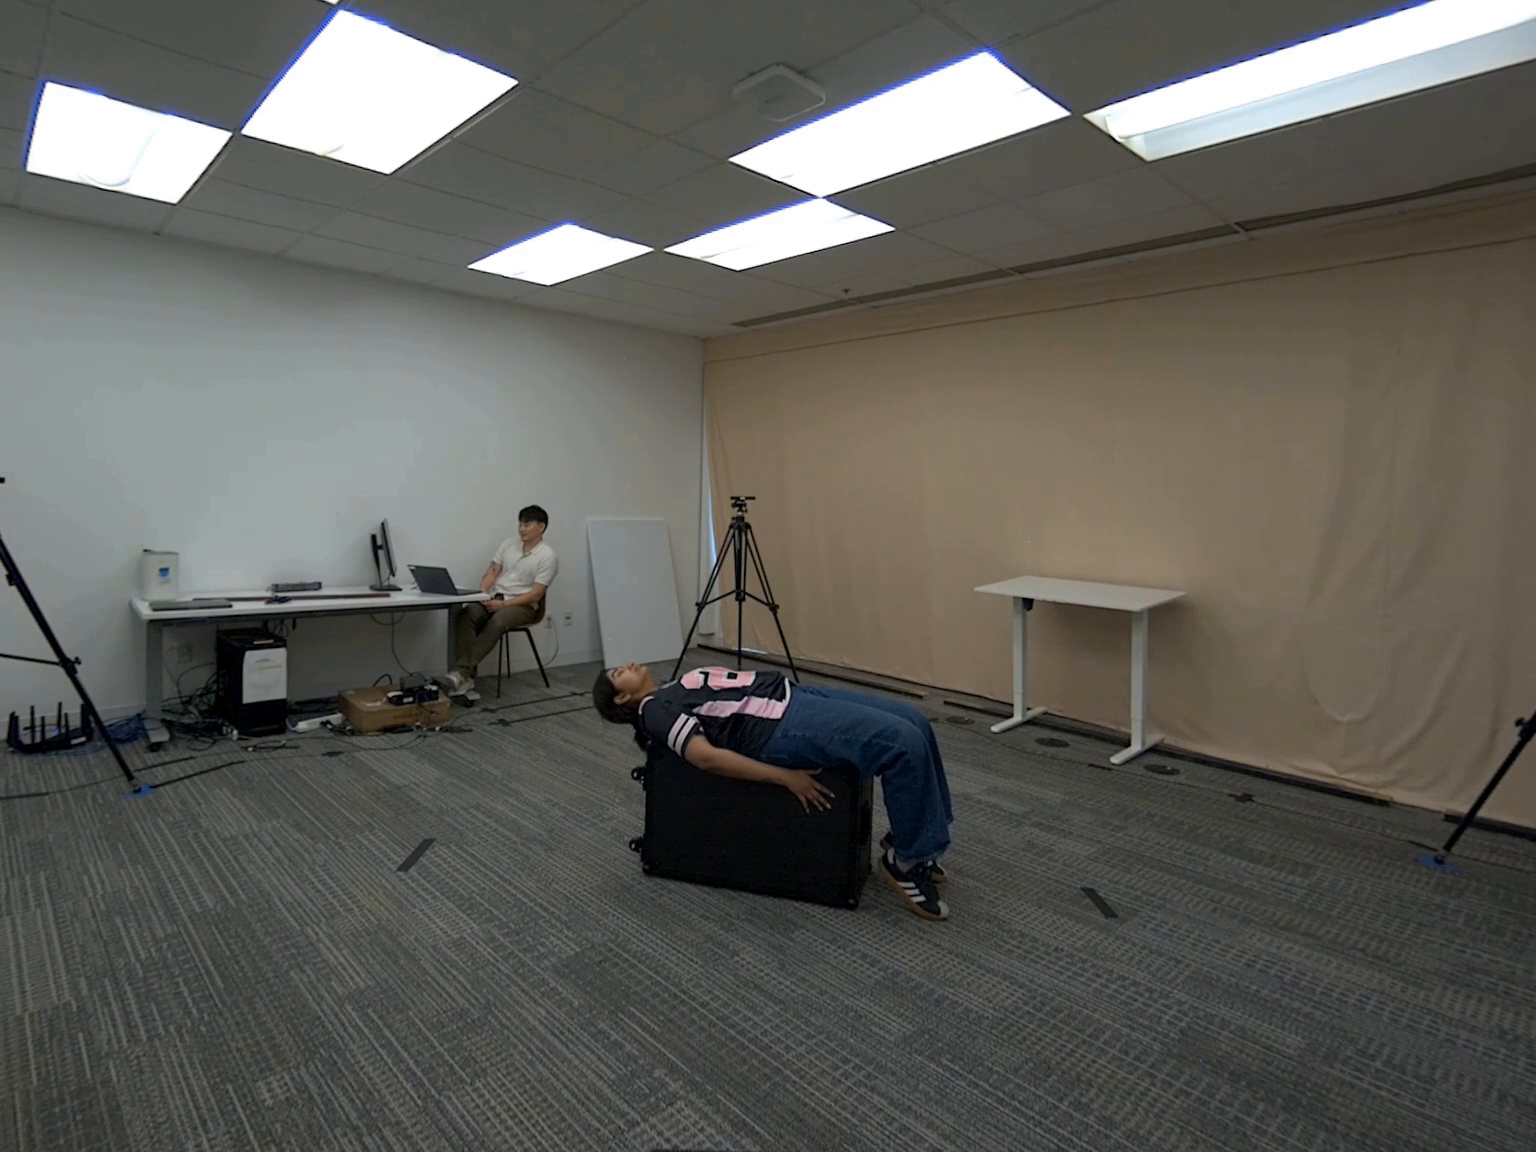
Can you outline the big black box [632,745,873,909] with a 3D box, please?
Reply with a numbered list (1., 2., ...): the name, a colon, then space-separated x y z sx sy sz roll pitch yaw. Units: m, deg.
1. big black box: -0.070 0.847 3.130 0.881 0.522 0.381 3 5 18
